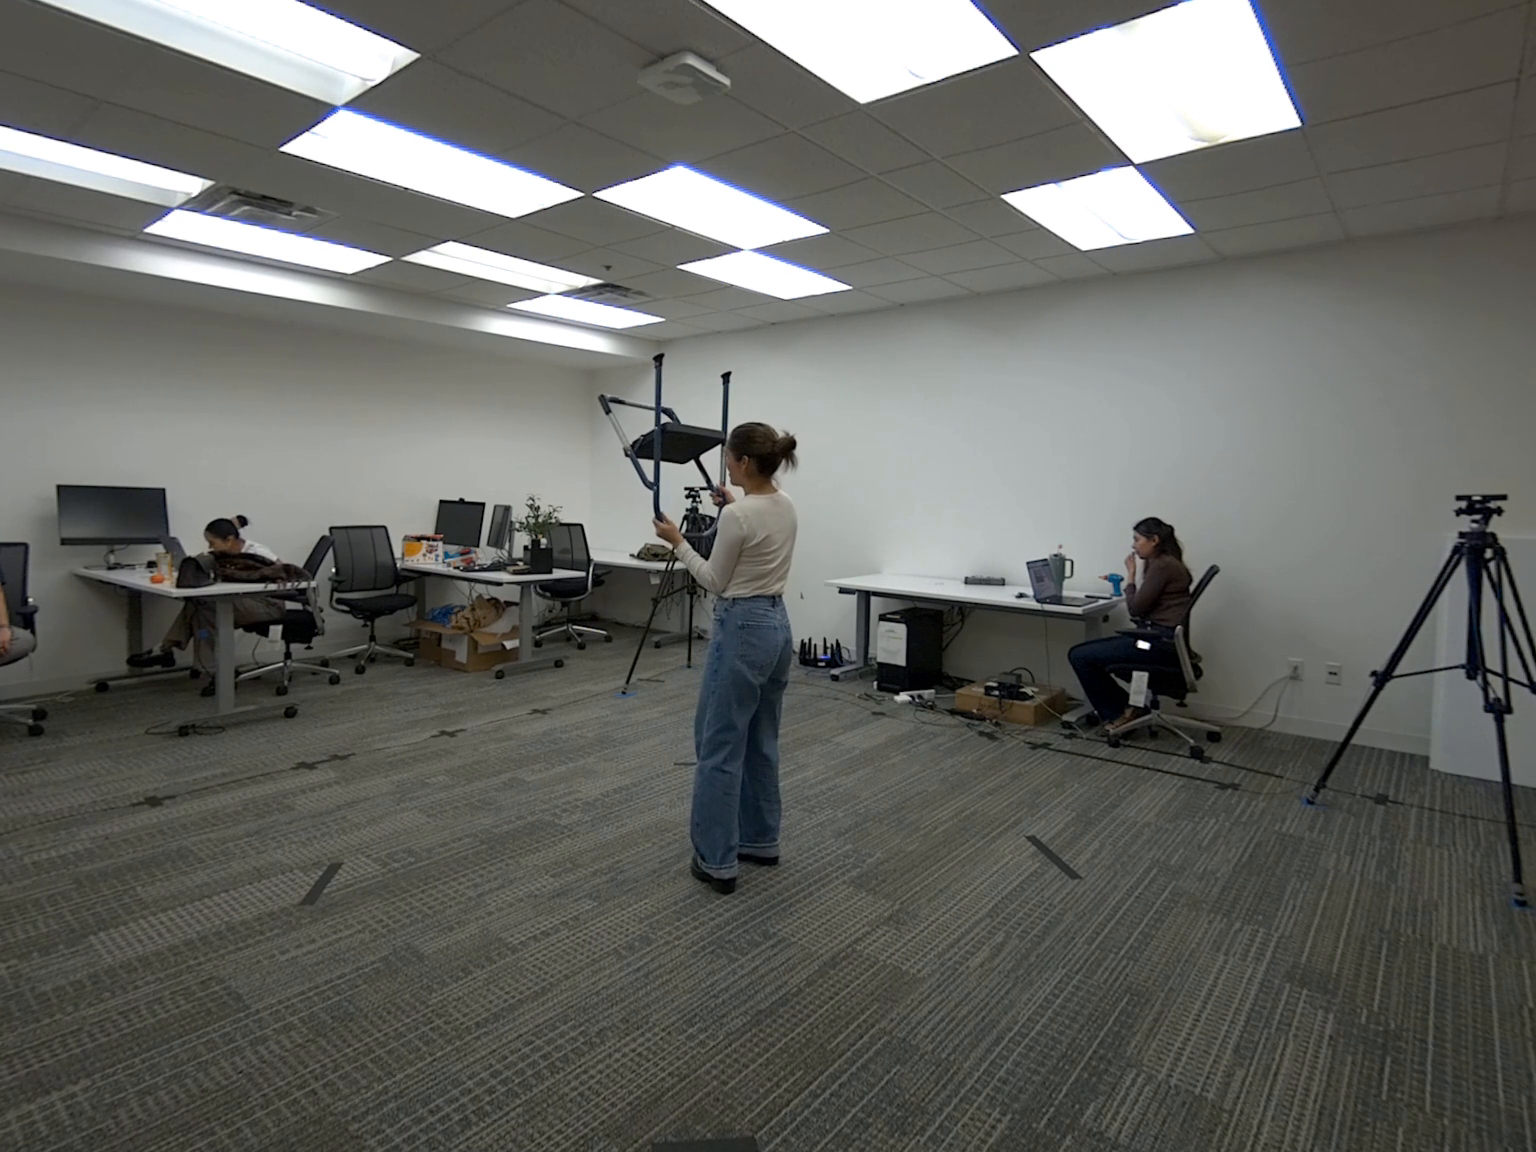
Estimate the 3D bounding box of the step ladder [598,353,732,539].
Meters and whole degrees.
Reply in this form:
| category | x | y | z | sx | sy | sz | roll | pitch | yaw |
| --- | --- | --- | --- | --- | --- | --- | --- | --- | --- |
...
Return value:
| category | x | y | z | sx | sy | sz | roll | pitch | yaw |
| --- | --- | --- | --- | --- | --- | --- | --- | --- | --- |
| step ladder | -0.330 | -0.459 | 3.205 | 0.355 | 0.615 | 0.417 | -24 | -15 | 34 |
